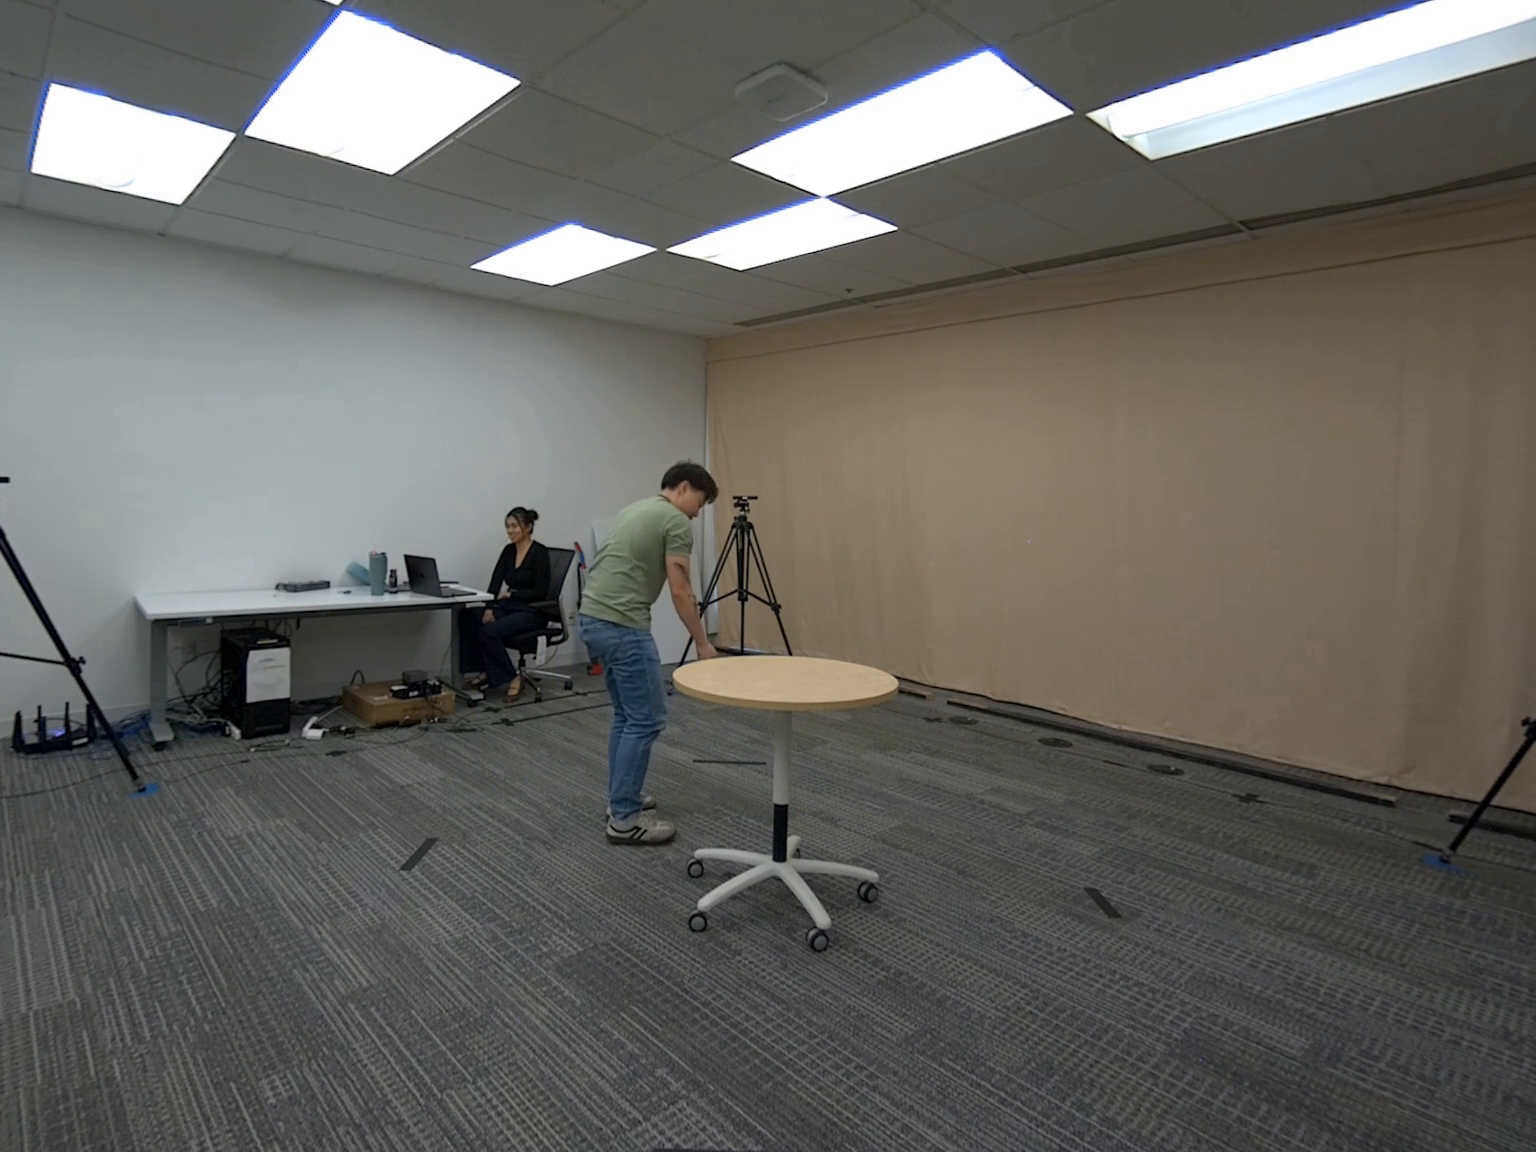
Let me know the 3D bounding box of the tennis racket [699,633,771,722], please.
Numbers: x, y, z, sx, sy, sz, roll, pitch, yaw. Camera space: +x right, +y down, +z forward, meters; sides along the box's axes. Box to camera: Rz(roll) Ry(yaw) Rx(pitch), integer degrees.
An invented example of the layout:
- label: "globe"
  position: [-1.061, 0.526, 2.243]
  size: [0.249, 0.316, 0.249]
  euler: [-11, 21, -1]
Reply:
- label: "tennis racket"
  position: [-0.138, 0.442, 3.680]
  size: [0.032, 0.218, 0.420]
  euler: [-27, -48, 30]
